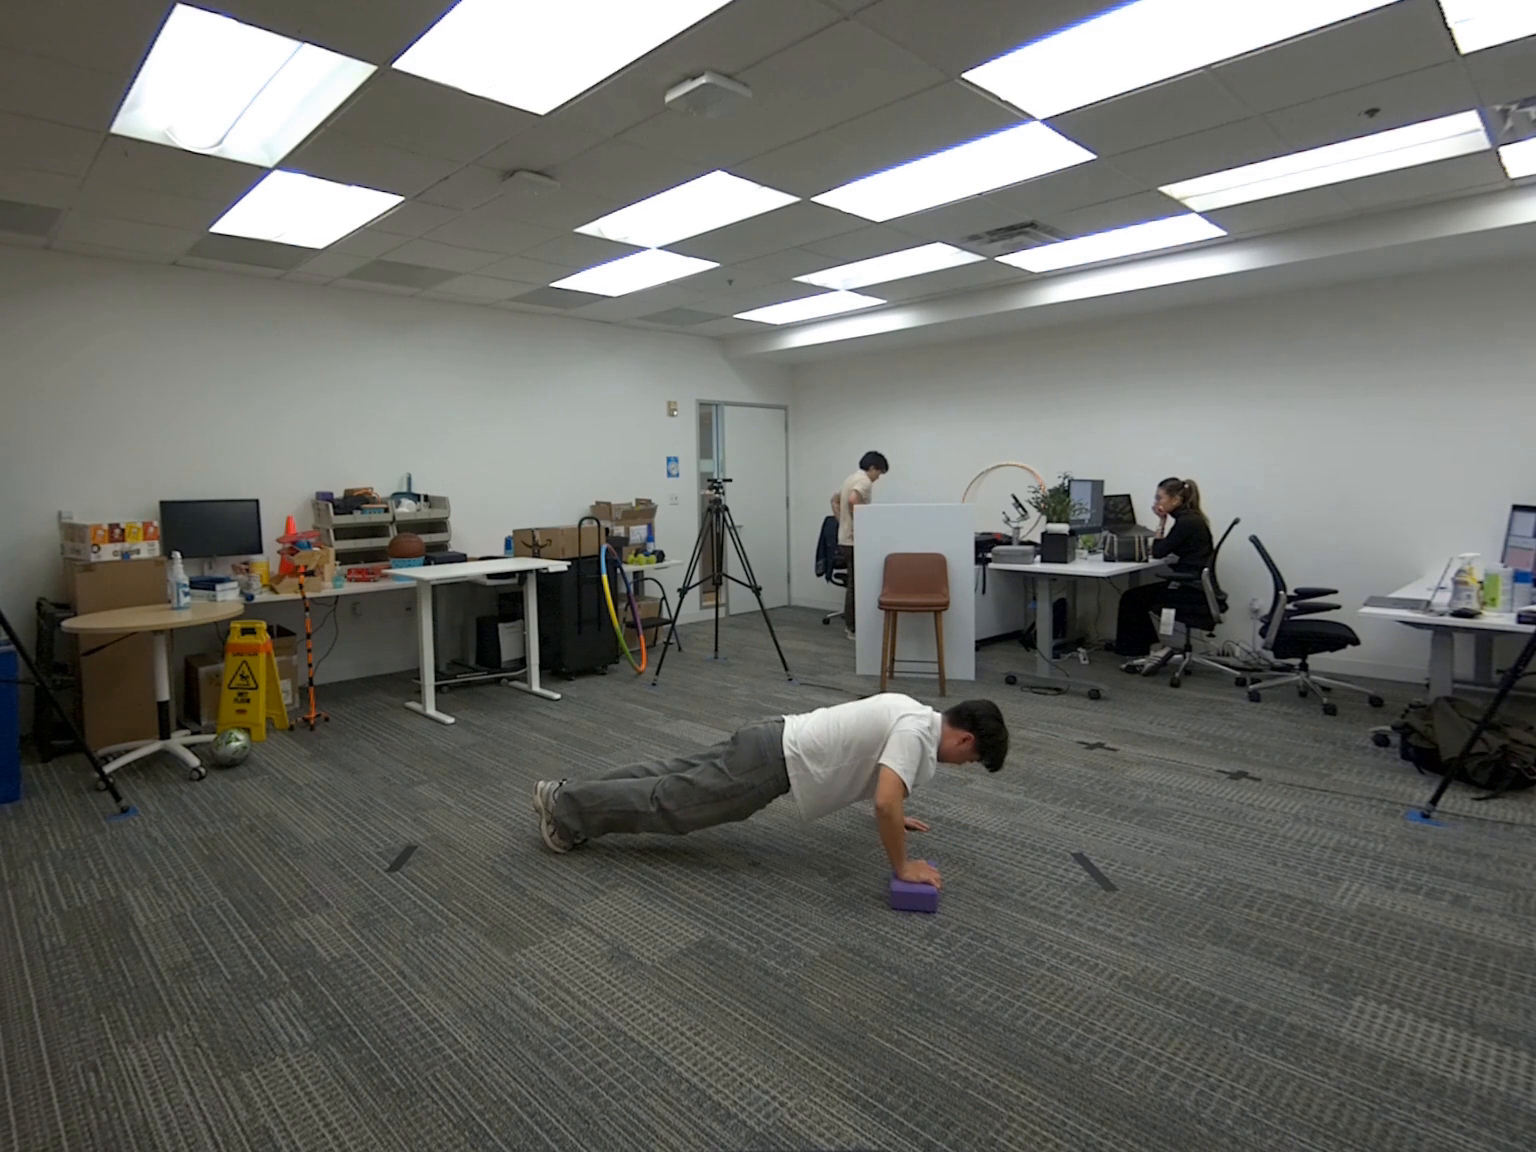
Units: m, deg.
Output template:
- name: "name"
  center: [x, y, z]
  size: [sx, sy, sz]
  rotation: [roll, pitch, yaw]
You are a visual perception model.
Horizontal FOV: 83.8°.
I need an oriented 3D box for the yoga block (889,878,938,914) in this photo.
- name: "yoga block"
  center: [0.492, 1.033, 2.844]
  size: [0.151, 0.076, 0.227]
  rotation: [-1, 6, 13]
